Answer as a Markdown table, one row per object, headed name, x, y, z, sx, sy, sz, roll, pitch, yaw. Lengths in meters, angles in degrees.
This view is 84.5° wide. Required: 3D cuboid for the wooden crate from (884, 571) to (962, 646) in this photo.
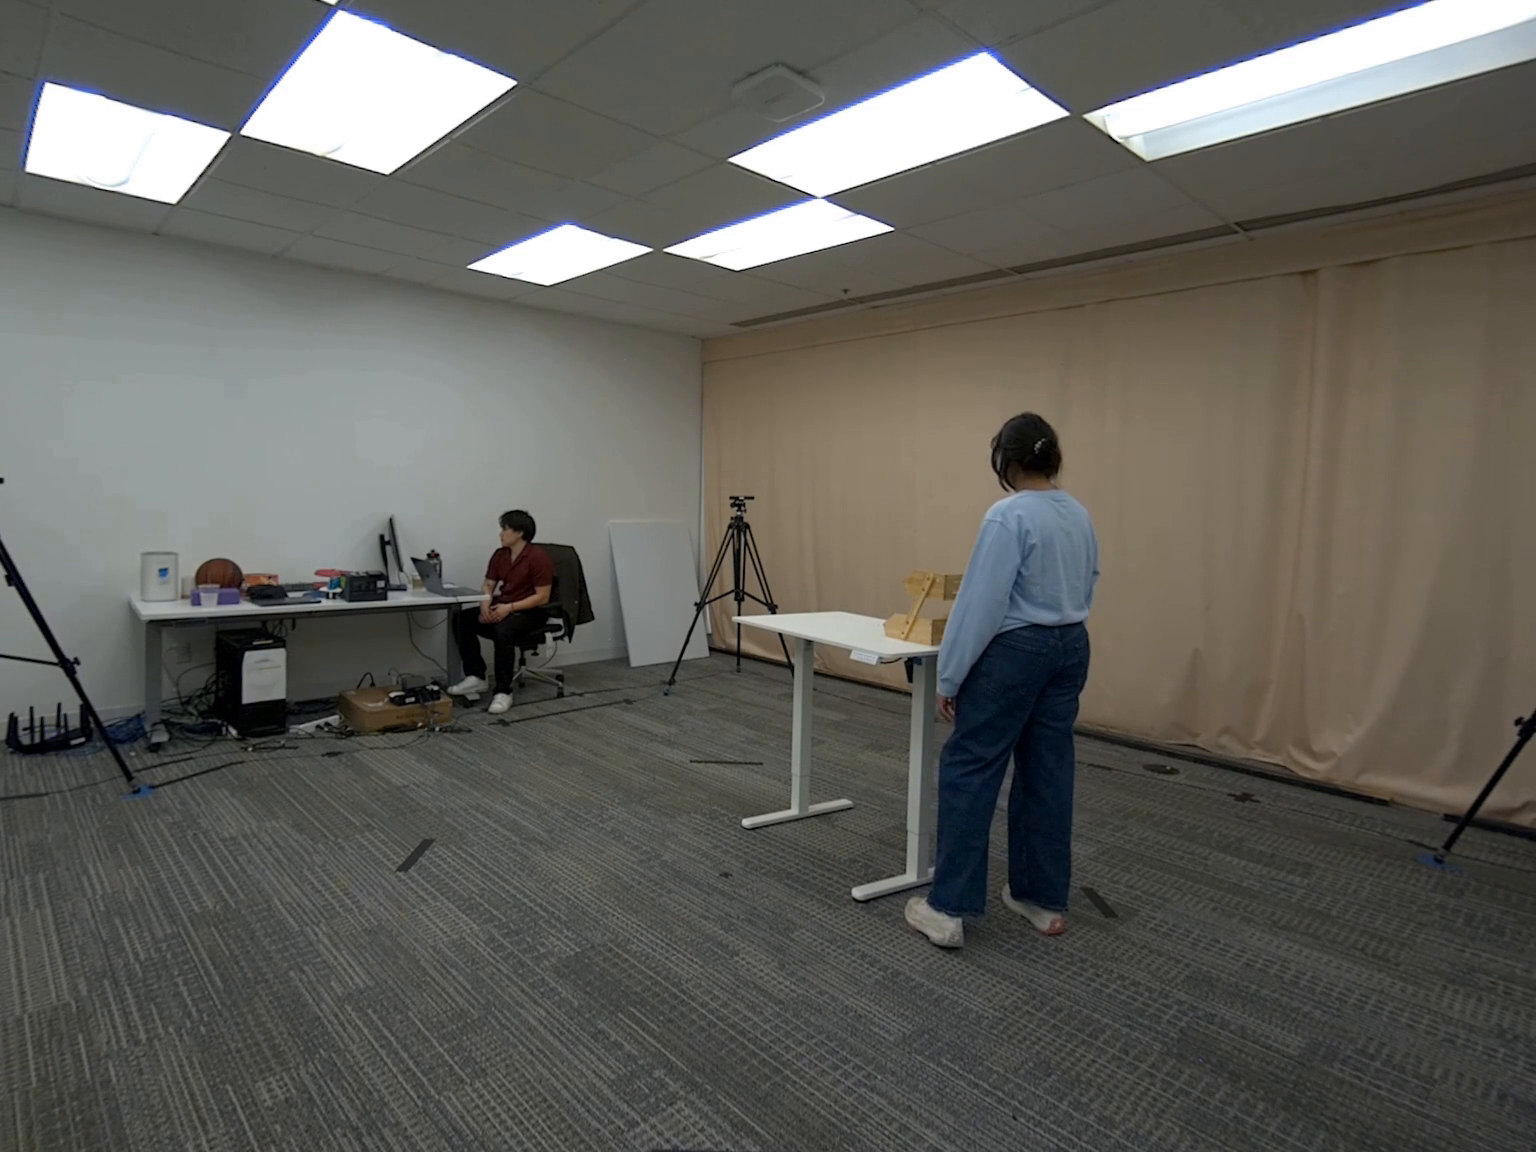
| name | x | y | z | sx | sy | sz | roll | pitch | yaw |
| --- | --- | --- | --- | --- | --- | --- | --- | --- | --- |
| wooden crate | 0.643 | 0.106 | 3.135 | 0.317 | 0.272 | 0.309 | 0 | 5 | -33 |
